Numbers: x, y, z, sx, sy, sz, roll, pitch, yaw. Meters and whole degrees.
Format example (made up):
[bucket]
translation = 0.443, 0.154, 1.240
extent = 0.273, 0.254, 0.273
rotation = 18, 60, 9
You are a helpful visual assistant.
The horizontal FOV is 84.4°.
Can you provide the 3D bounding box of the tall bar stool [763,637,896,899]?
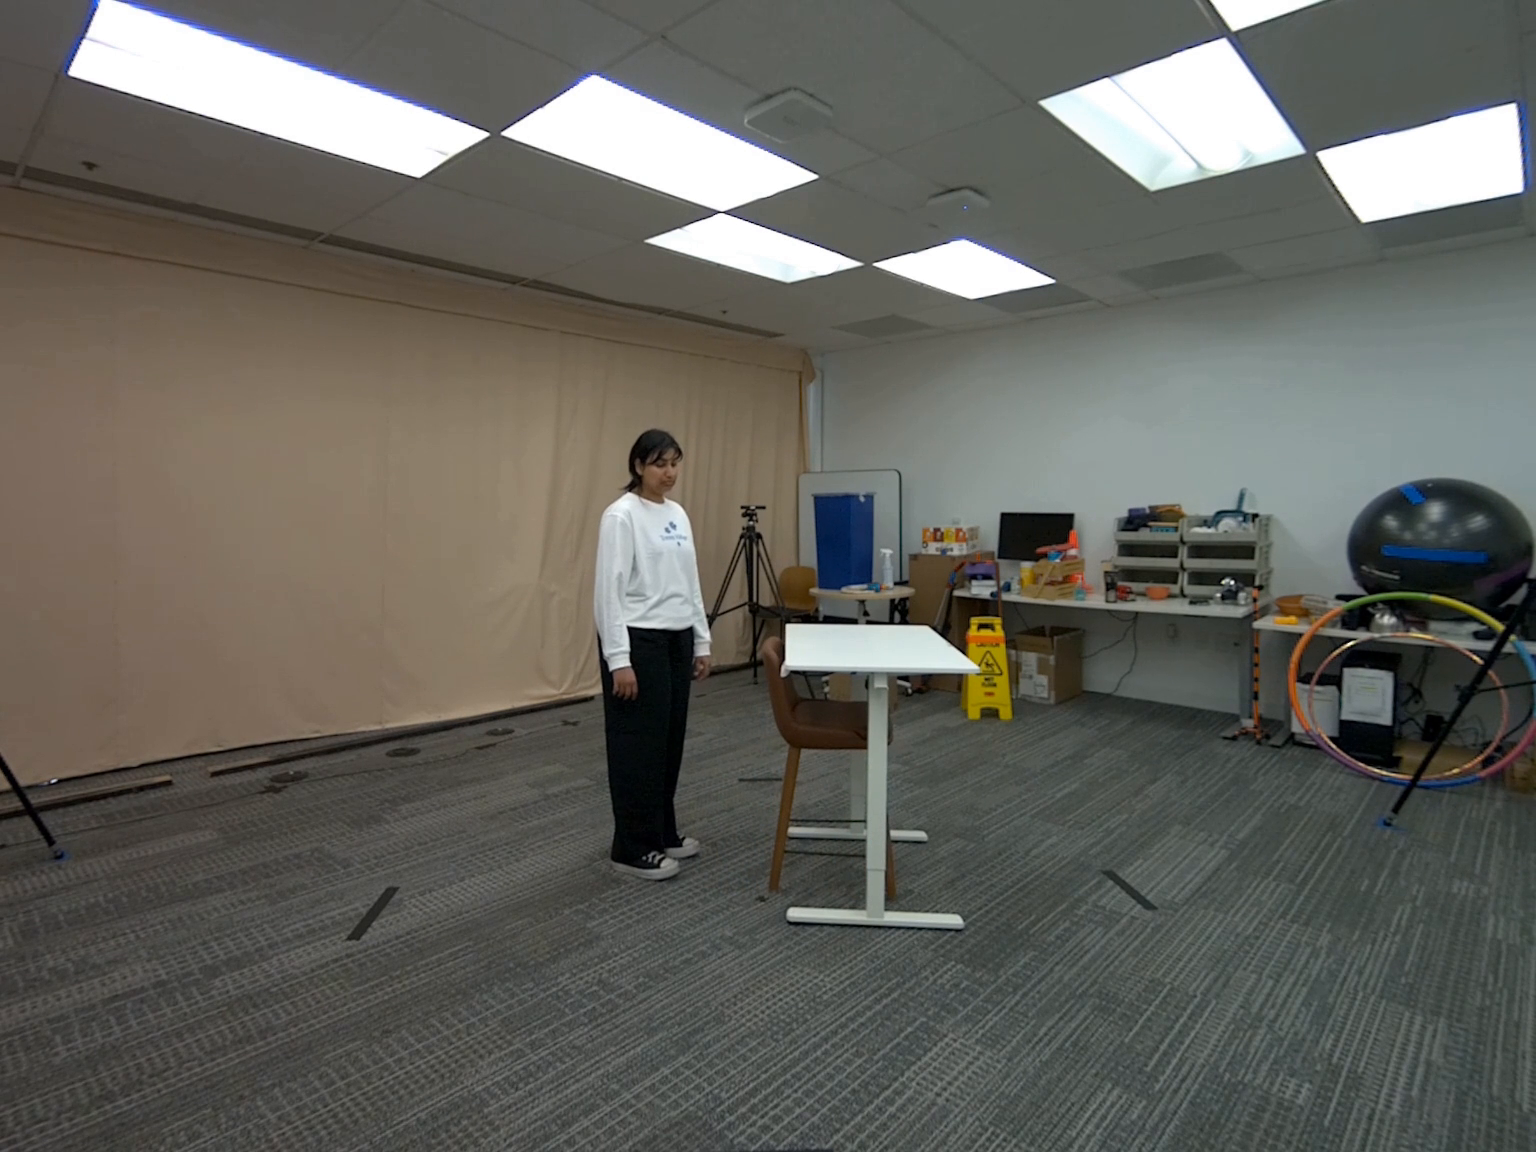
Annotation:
[tall bar stool]
translation = 0.235, 0.693, 3.181
extent = 0.471, 0.888, 0.454
rotation = -1, 3, 6
